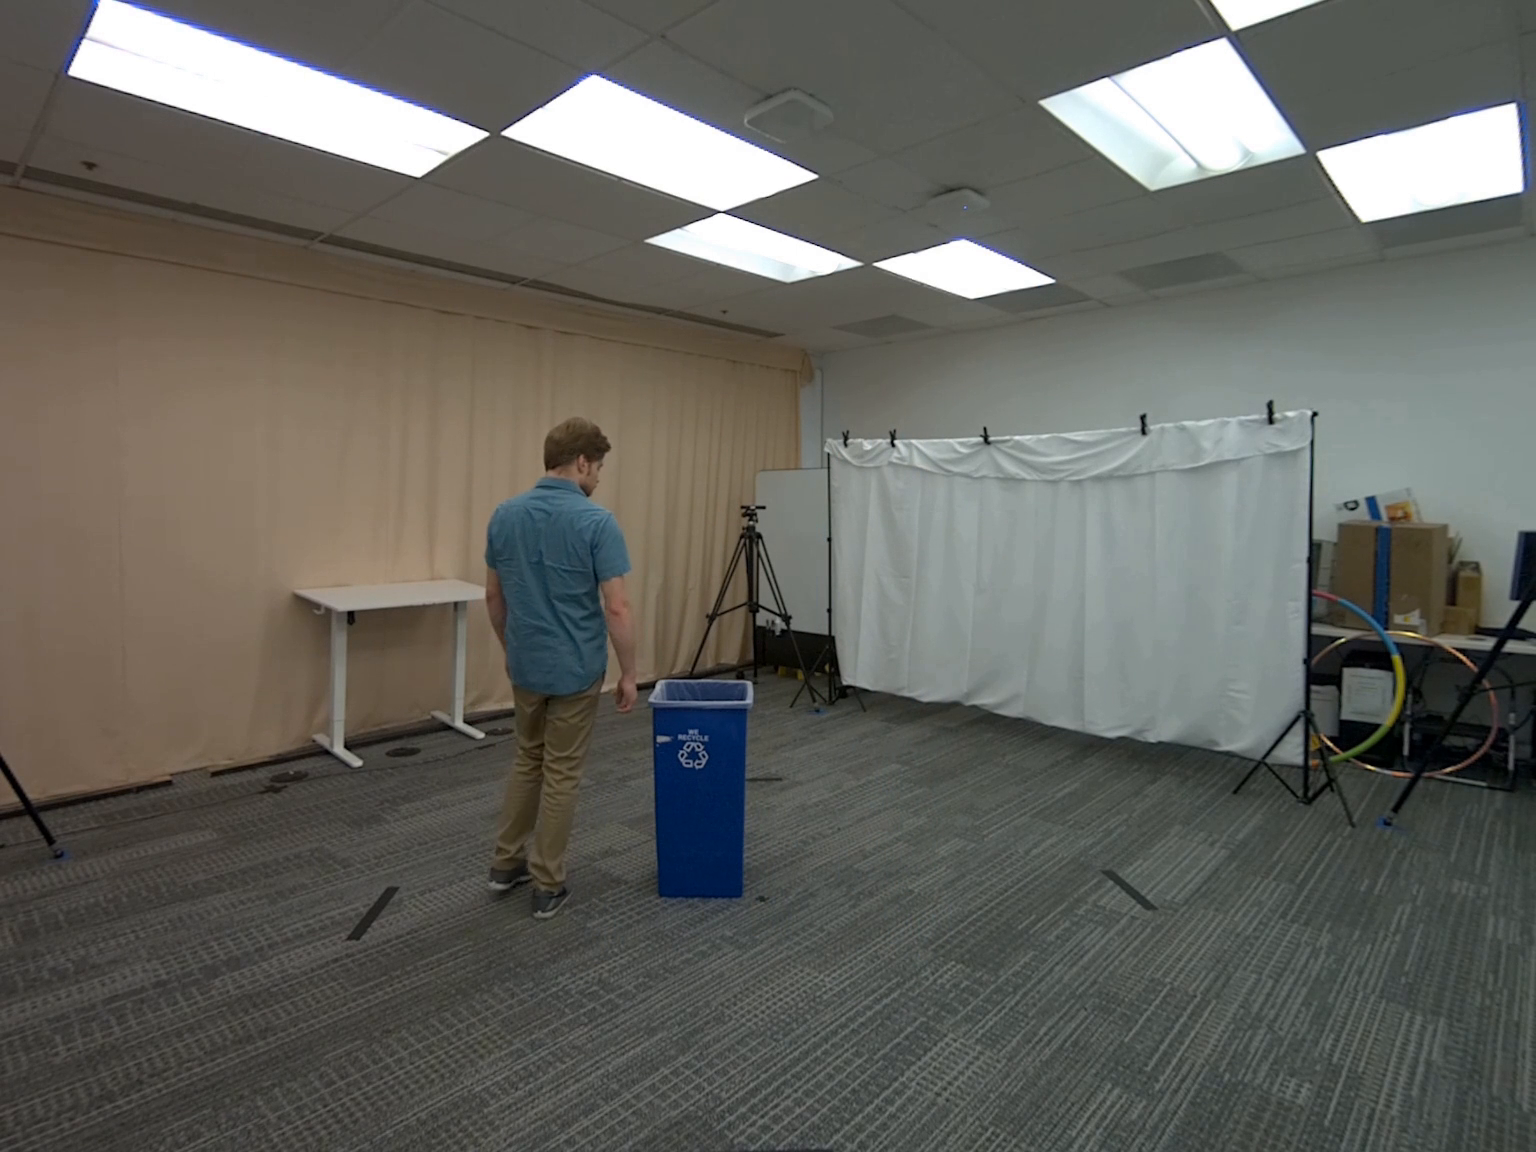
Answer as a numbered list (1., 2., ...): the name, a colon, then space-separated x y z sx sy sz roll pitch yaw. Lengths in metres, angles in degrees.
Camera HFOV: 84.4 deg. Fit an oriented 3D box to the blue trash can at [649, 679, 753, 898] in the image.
1. blue trash can: -0.242 0.780 3.109 0.378 0.712 0.375 0 3 0
